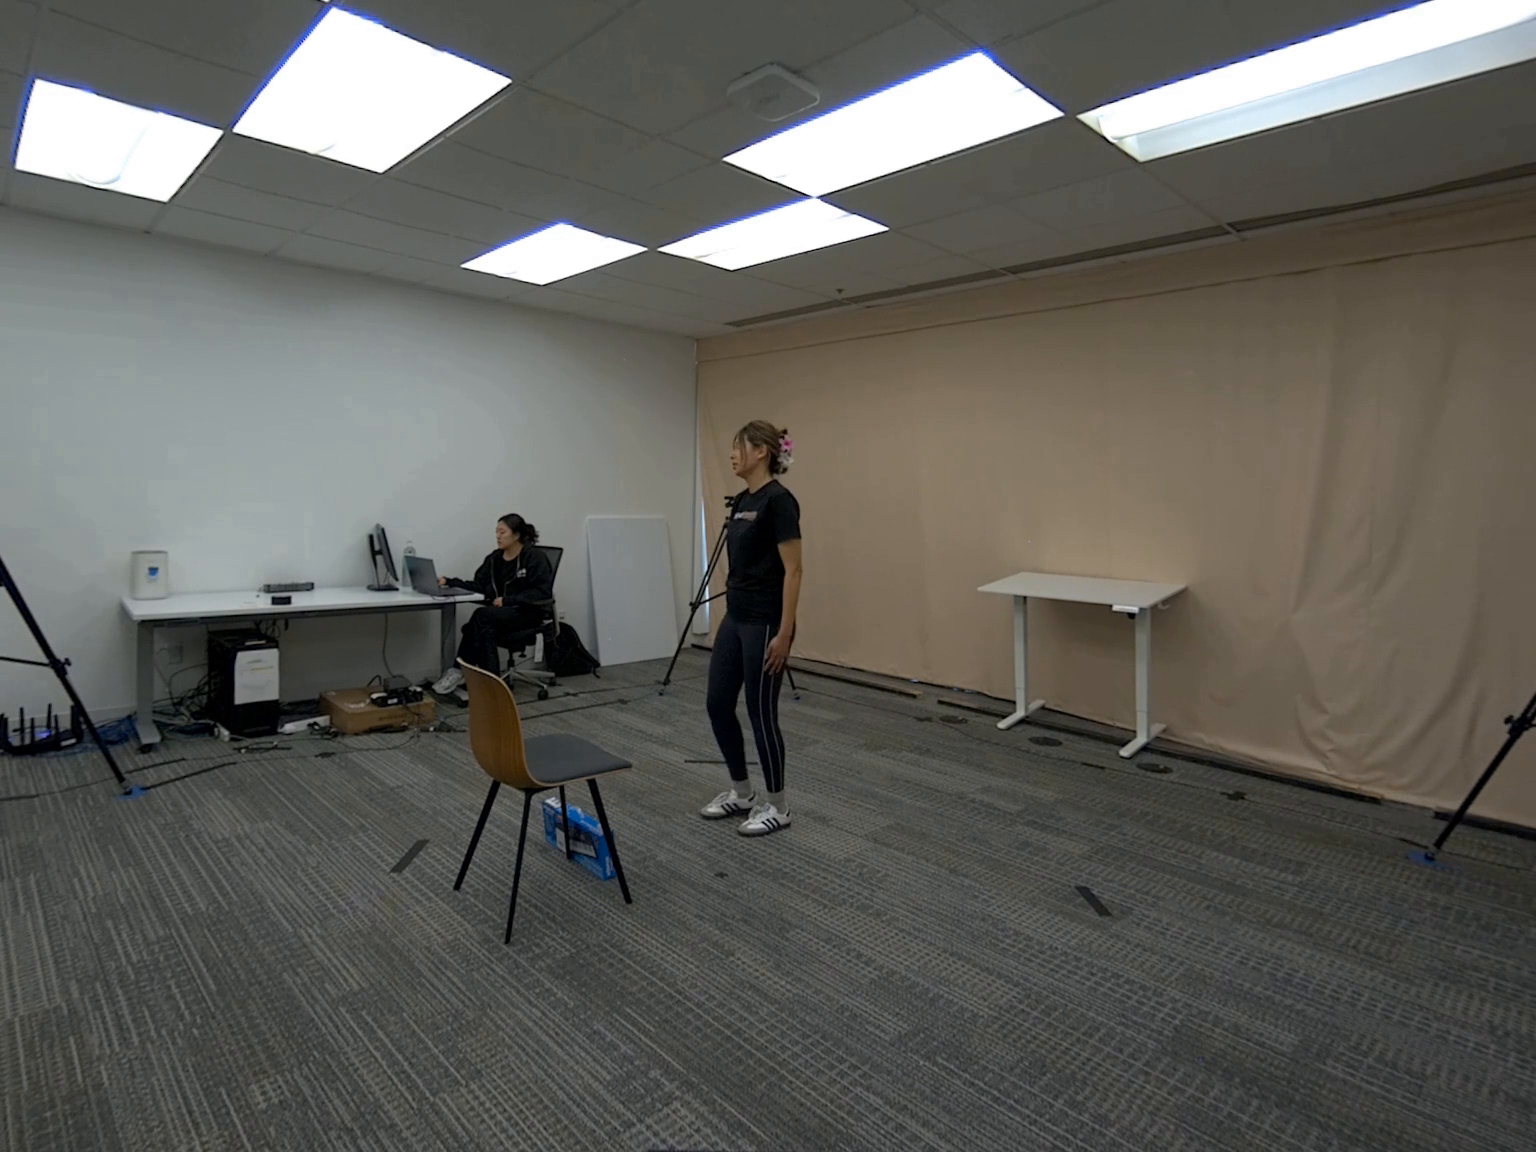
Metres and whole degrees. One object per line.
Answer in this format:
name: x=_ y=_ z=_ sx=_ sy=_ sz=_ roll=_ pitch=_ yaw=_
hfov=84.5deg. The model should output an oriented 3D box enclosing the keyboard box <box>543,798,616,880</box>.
keyboard box: x=-0.731 y=0.994 z=3.209 sx=0.058 sy=0.175 sz=0.448 roll=-10 pitch=11 yaw=-40
